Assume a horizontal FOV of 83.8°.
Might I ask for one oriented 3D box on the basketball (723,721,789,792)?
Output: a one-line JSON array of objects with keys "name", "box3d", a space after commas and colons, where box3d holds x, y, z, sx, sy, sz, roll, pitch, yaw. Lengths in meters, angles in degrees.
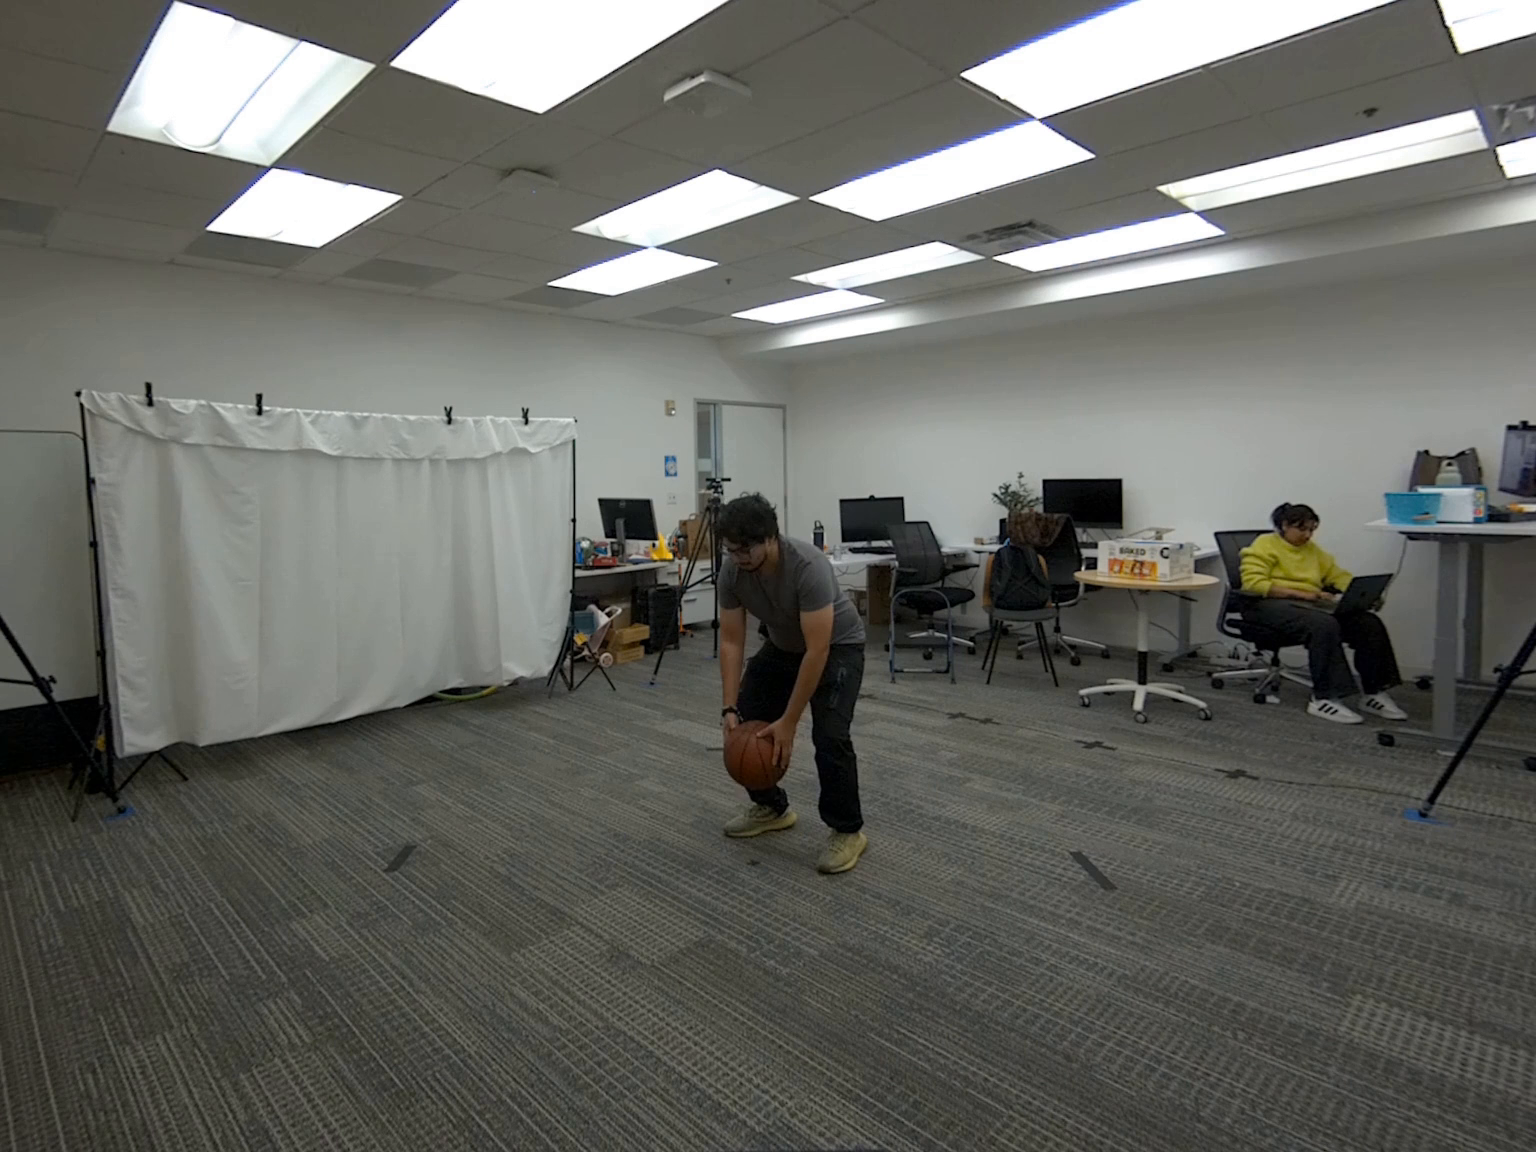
[{"name": "basketball", "box3d": [-0.038, 0.639, 3.040, 0.236, 0.235, 0.237, -1, 5, -2]}]
